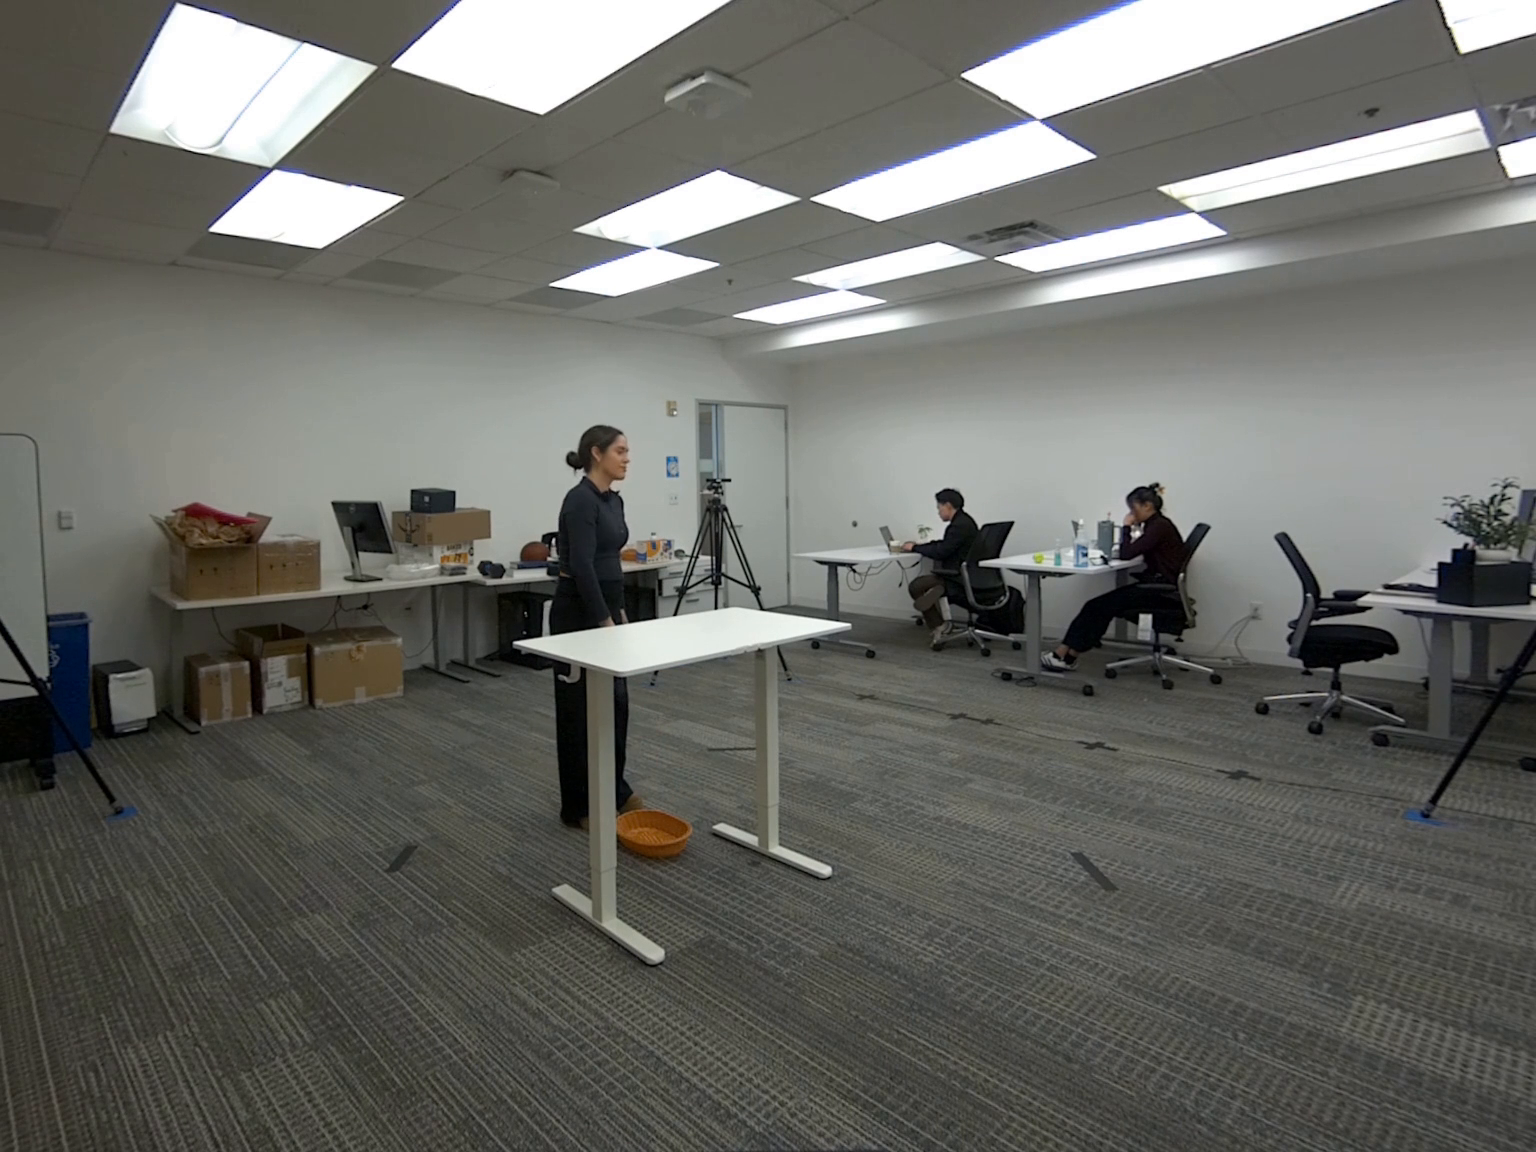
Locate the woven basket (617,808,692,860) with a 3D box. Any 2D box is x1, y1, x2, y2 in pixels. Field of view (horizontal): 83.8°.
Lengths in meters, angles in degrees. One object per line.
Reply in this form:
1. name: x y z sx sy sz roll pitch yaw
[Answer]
1. woven basket: -0.442 0.993 3.279 0.246 0.073 0.361 -8 9 -42
